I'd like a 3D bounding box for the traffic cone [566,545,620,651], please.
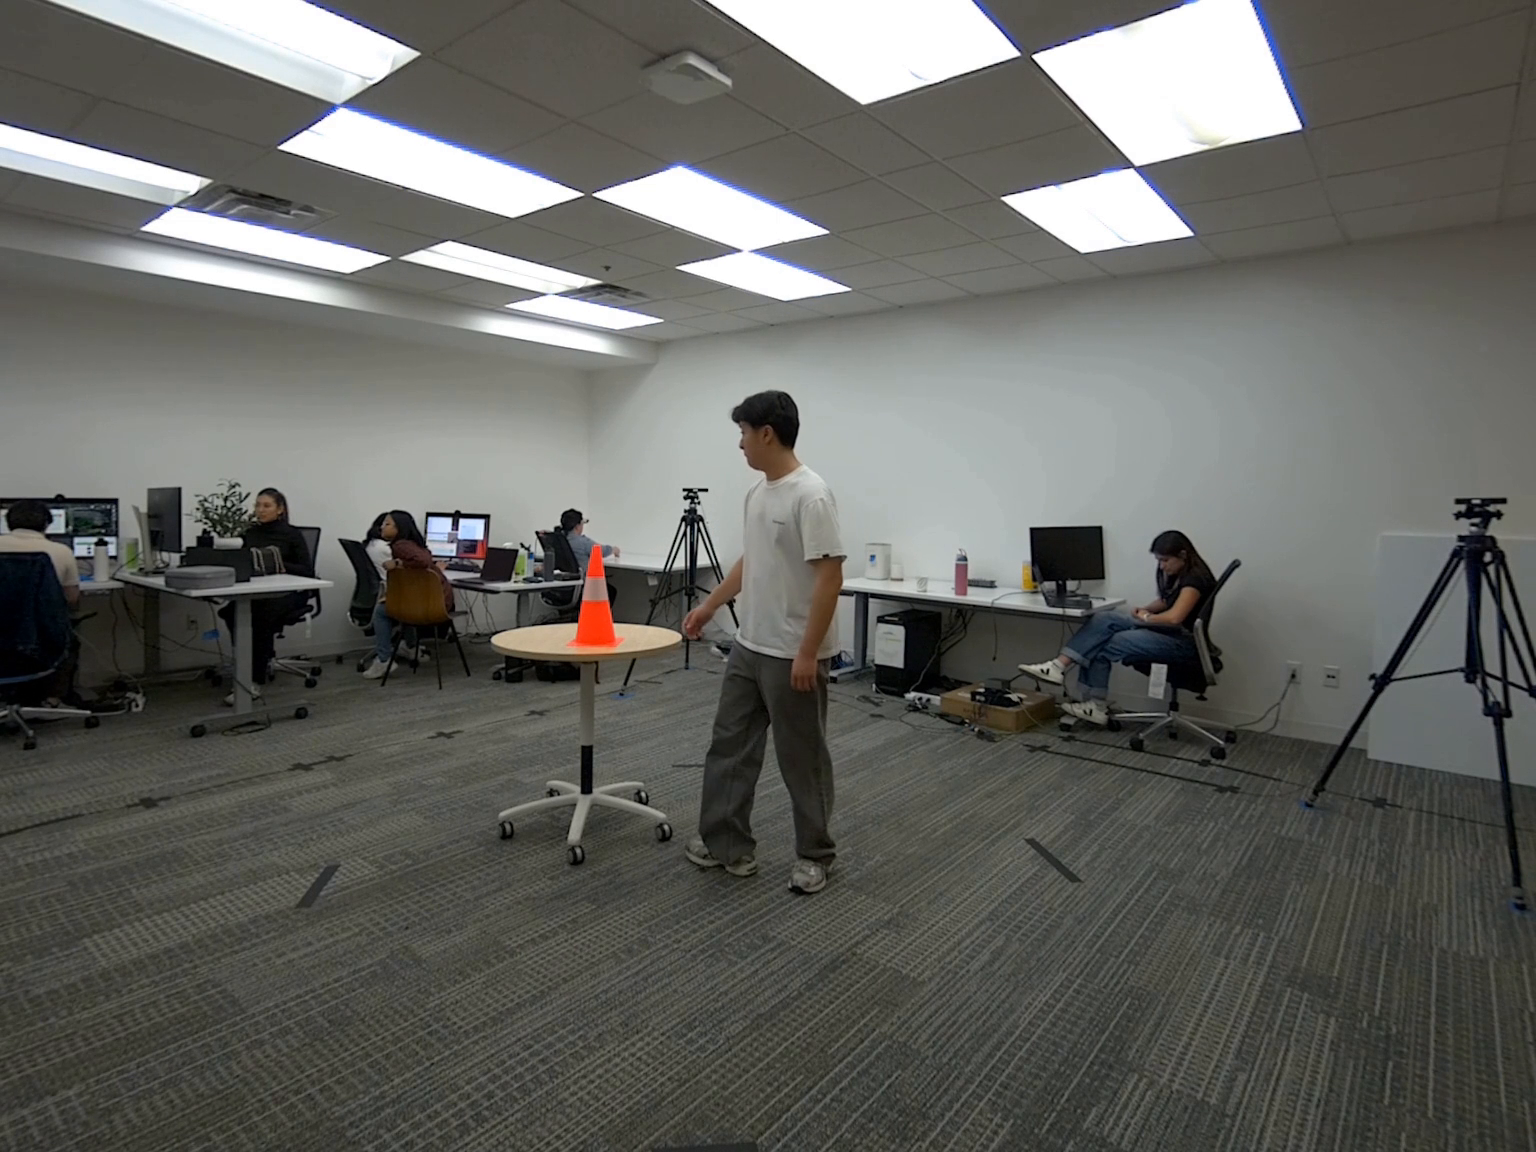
[{"bbox_3d":[-0.677,0.066,3.331,0.205,0.383,0.204,3,3,0],"label":"traffic cone"}]
